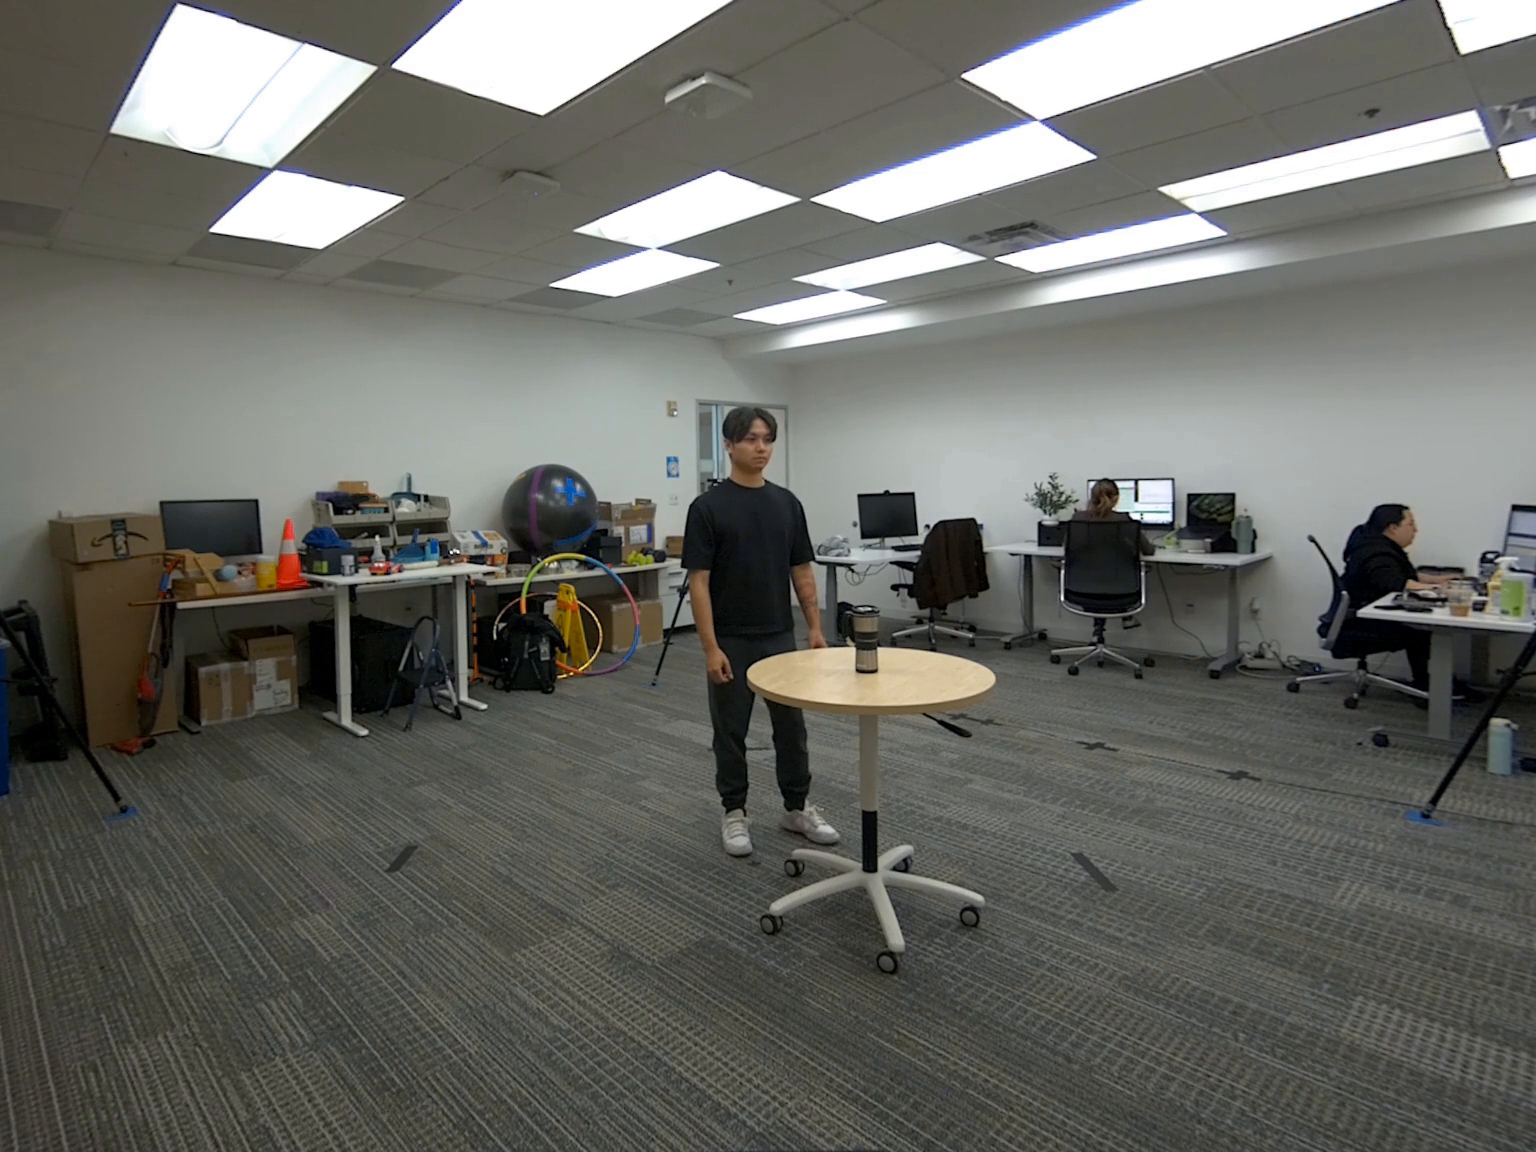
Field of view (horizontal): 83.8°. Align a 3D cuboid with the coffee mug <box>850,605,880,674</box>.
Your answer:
[{"bbox_3d":[0.304,0.201,2.712,0.086,0.201,0.126,-9,13,-32],"label":"coffee mug"}]
